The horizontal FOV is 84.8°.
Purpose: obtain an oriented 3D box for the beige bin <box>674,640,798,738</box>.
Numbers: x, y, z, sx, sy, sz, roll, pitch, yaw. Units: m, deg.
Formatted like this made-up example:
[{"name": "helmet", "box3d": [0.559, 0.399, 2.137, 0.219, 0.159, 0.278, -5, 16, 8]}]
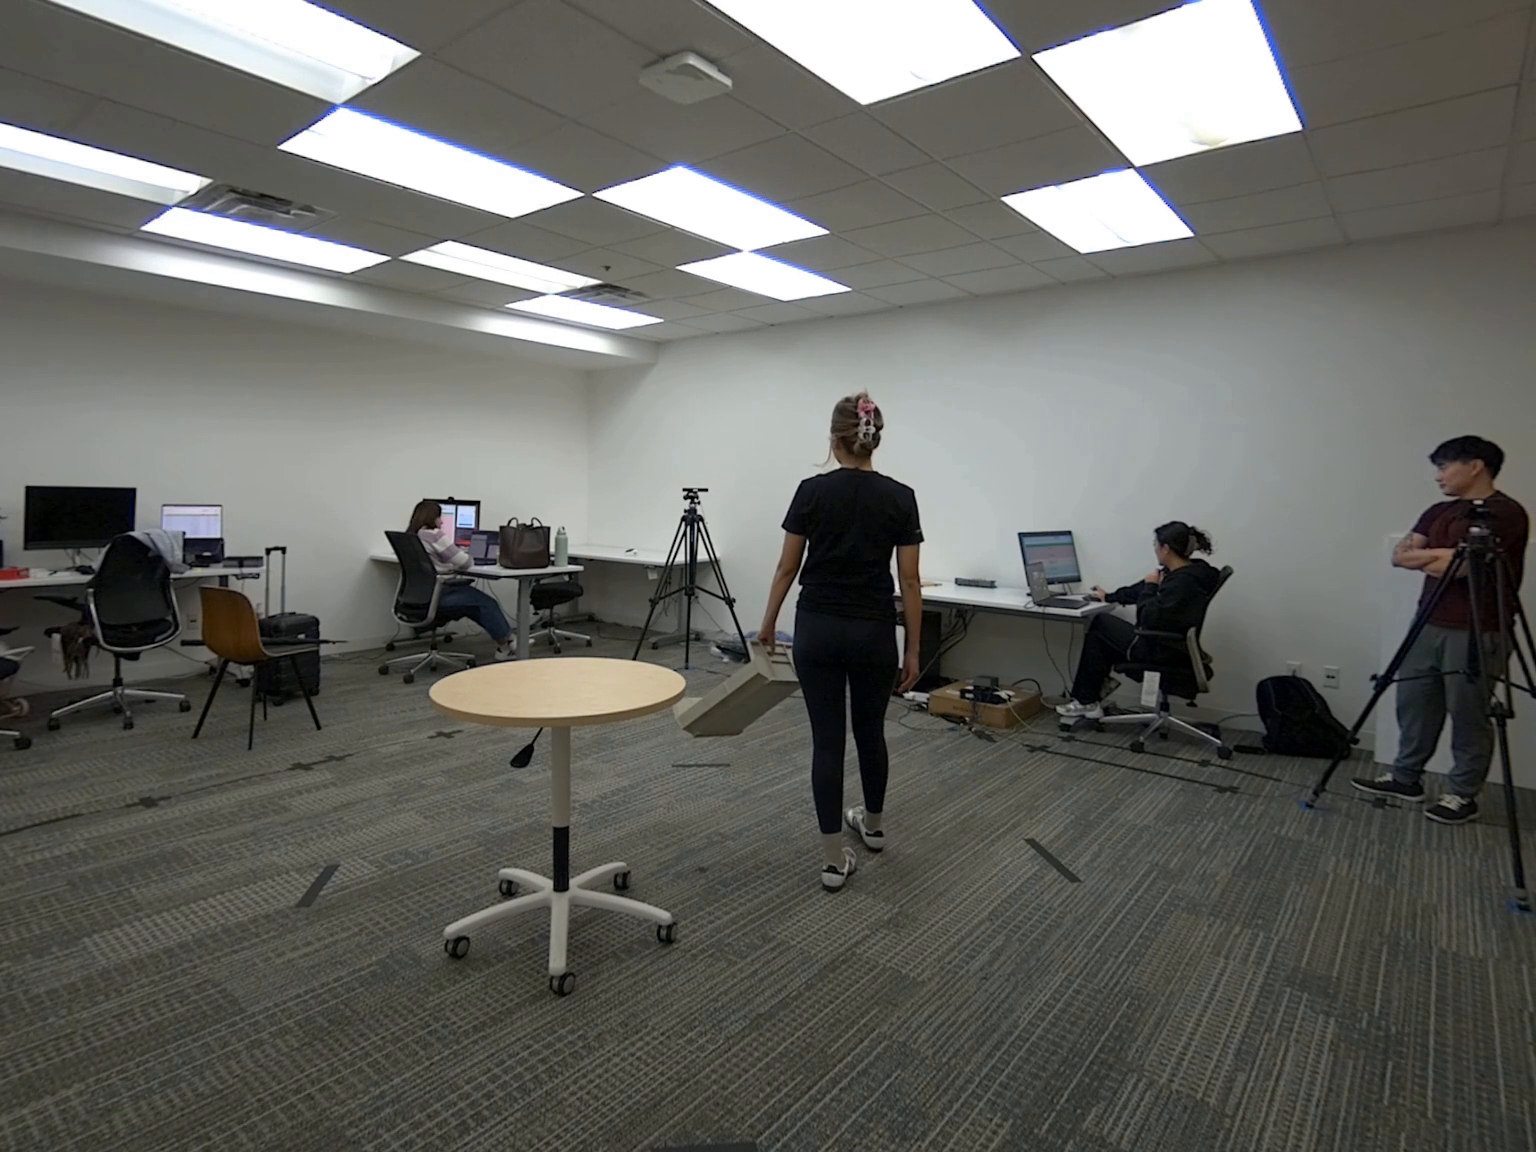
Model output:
[{"name": "beige bin", "box3d": [-0.113, 0.443, 3.322, 0.424, 0.195, 0.363, -39, -28, 21]}]
